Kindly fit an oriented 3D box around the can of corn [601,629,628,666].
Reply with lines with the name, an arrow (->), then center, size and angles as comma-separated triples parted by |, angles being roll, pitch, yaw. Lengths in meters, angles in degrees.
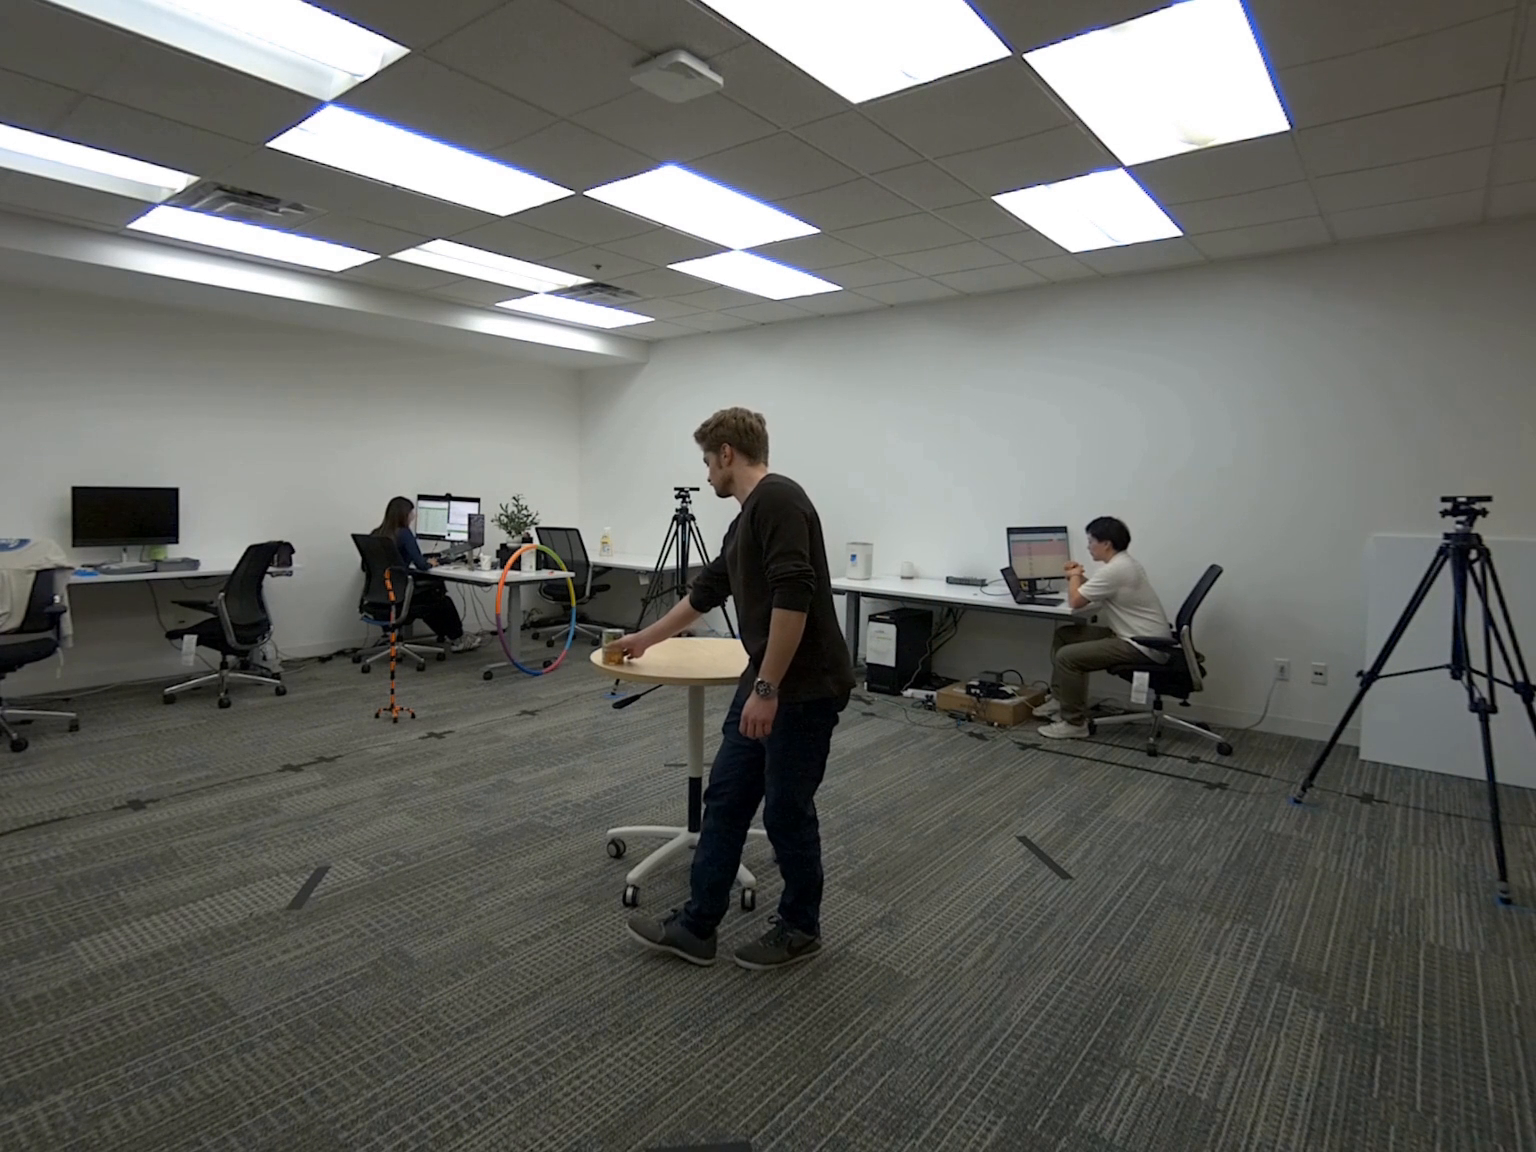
can of corn -> -0.545, 0.241, 2.927 | 0.074, 0.111, 0.074 | 1, 3, -2
